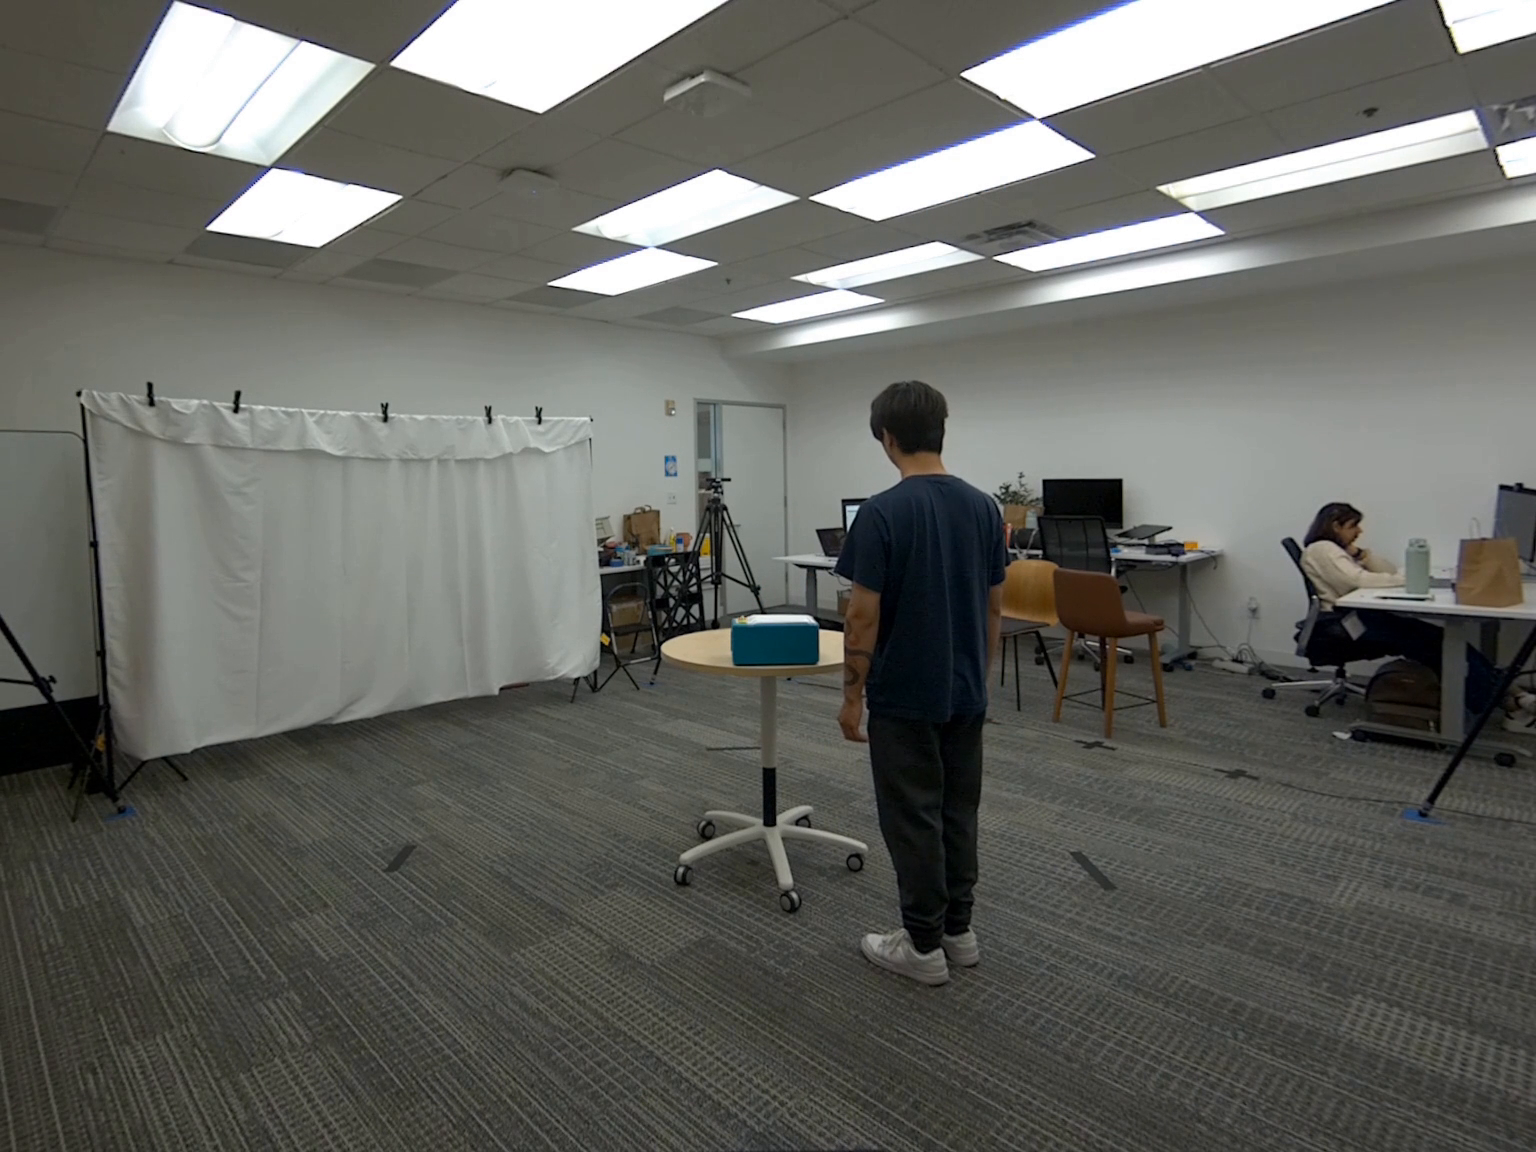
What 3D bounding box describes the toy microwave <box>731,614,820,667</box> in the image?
[{"bbox_3d":[0.023,0.201,2.802,0.286,0.152,0.184,0,3,0],"label":"toy microwave"}]
